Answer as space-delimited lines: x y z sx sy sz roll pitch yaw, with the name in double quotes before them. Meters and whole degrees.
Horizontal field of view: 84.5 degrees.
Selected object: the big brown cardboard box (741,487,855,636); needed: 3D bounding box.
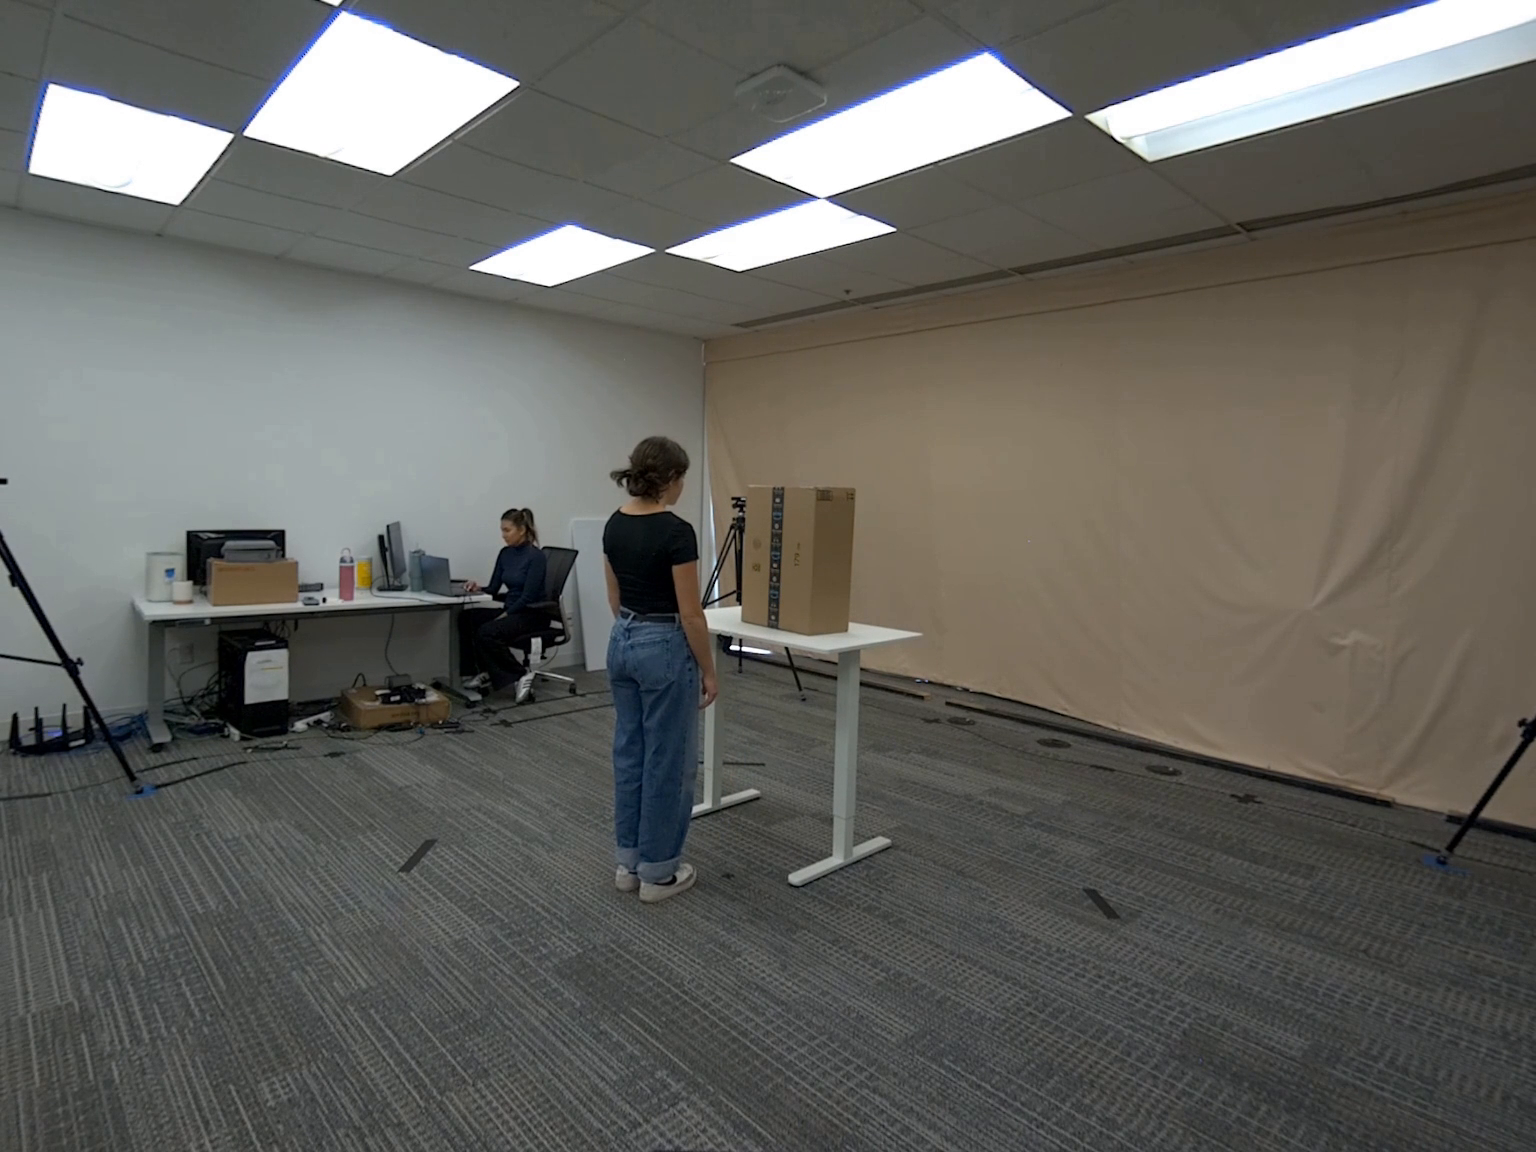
"big brown cardboard box" 0.107 -0.084 3.383 0.228 0.587 0.428 1 5 -39
